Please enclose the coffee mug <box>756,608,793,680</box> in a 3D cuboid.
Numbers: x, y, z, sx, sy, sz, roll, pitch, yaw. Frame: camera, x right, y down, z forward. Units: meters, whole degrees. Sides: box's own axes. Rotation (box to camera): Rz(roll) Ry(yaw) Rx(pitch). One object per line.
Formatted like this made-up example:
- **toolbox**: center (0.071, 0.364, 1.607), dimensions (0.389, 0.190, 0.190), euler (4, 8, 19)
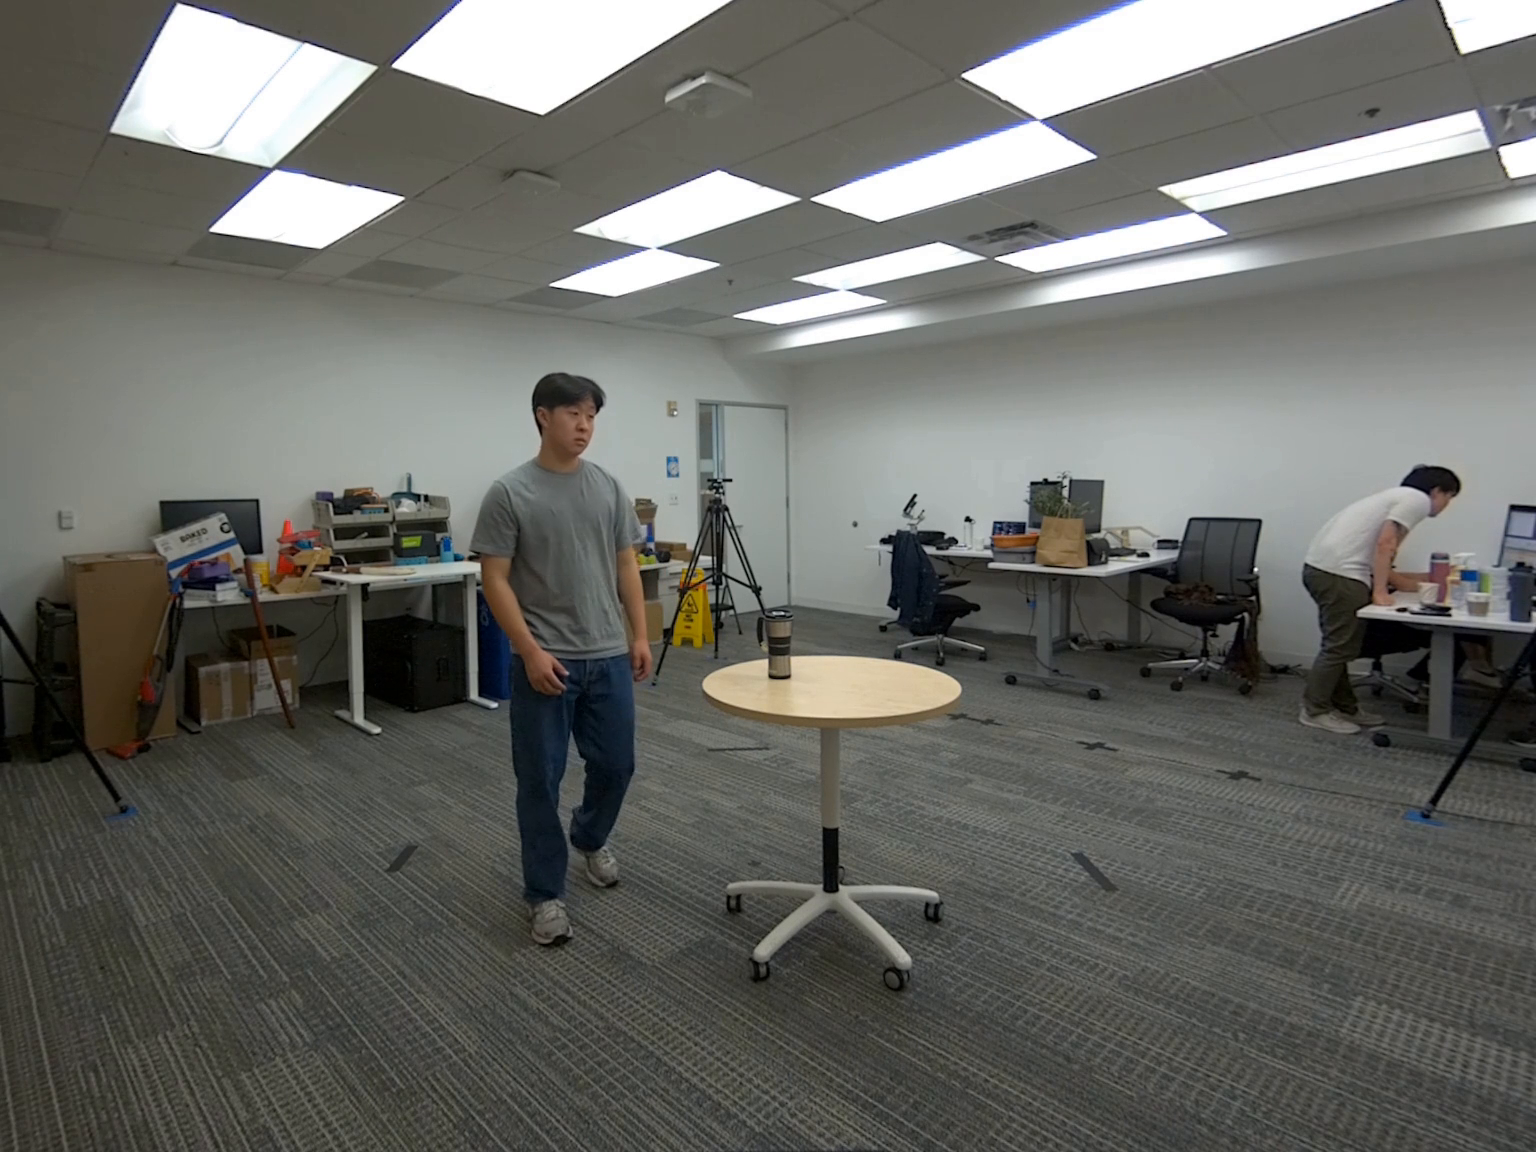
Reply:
- **coffee mug**: center (0.027, 0.212, 2.656), dimensions (0.086, 0.201, 0.125), euler (-5, 11, -22)
